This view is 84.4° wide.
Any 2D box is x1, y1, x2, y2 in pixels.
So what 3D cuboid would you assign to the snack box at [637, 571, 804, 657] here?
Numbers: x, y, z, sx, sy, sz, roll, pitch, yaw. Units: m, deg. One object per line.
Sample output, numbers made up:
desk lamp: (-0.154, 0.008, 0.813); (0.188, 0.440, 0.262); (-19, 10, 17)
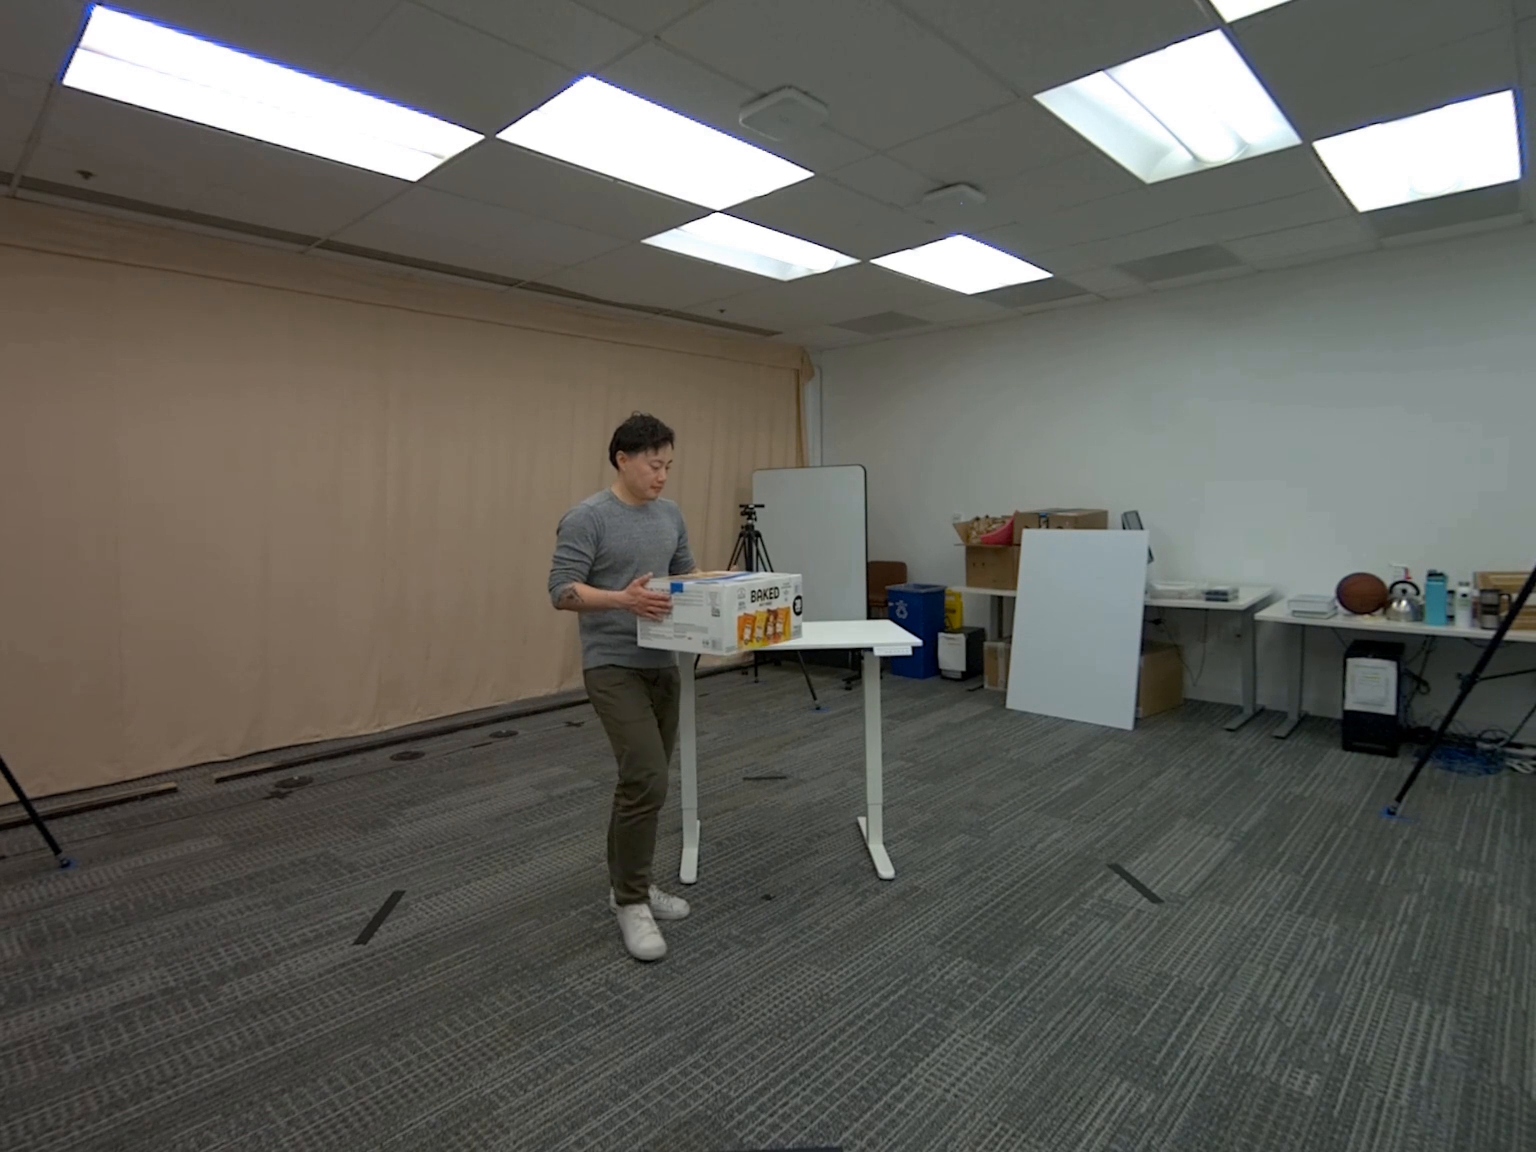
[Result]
snack box: (-0.135, 0.108, 2.593); (0.351, 0.205, 0.393); (2, 5, 36)
